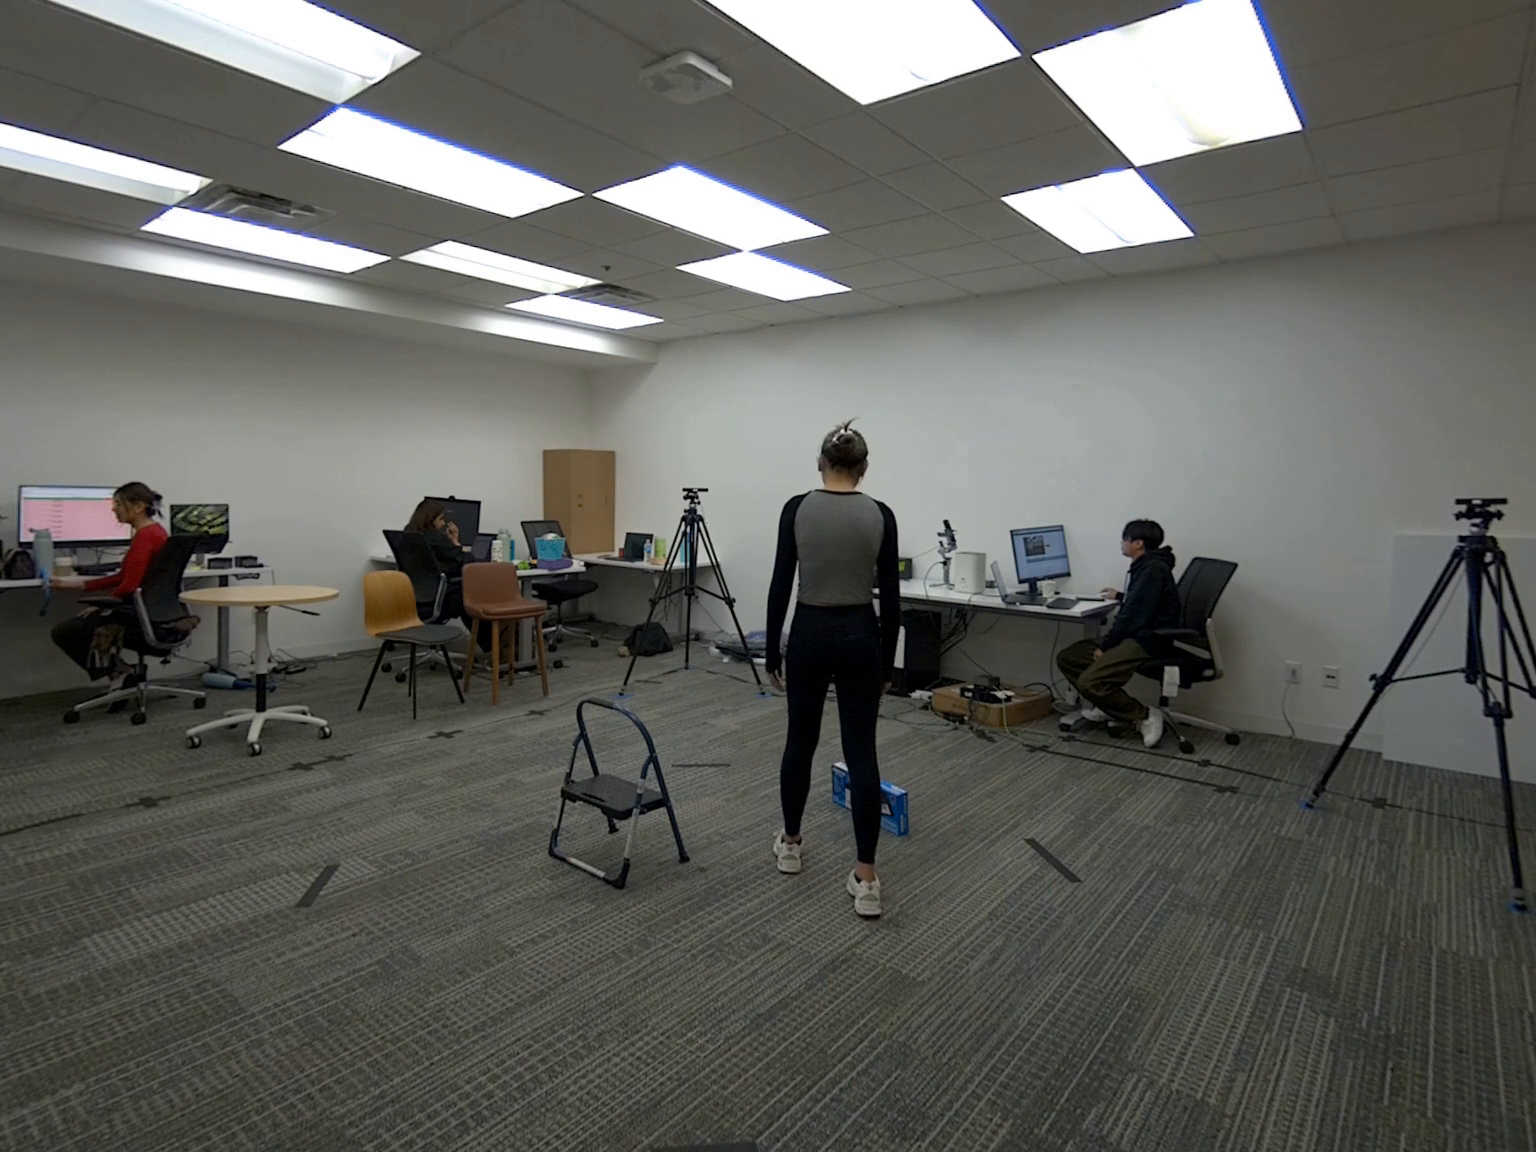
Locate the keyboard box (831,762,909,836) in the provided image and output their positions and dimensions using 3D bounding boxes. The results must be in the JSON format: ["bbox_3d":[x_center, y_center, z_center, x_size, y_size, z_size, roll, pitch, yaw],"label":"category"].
[{"bbox_3d":[0.423,0.944,3.648,0.057,0.175,0.451,-6,9,-32],"label":"keyboard box"}]
